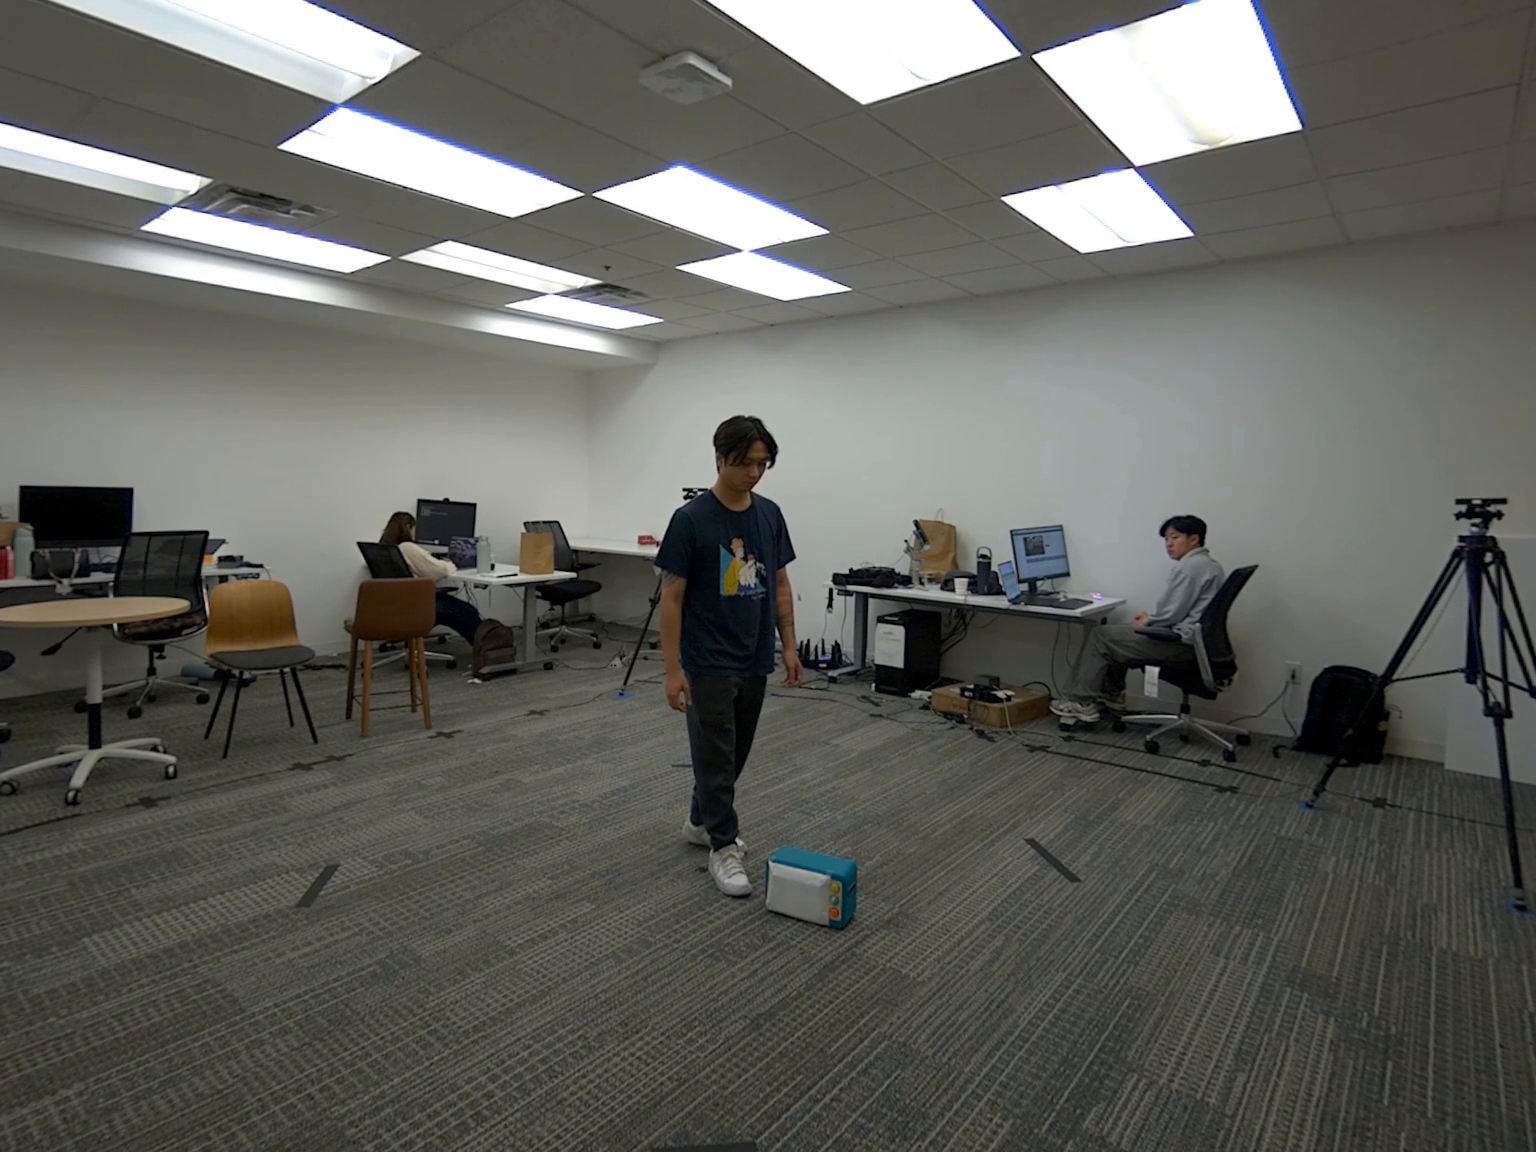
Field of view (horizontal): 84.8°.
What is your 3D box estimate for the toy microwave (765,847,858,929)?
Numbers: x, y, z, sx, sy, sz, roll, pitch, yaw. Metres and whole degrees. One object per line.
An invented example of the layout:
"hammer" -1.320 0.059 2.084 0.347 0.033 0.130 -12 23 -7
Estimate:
"toy microwave" 0.129 1.015 2.789 0.294 0.183 0.149 5 5 25
